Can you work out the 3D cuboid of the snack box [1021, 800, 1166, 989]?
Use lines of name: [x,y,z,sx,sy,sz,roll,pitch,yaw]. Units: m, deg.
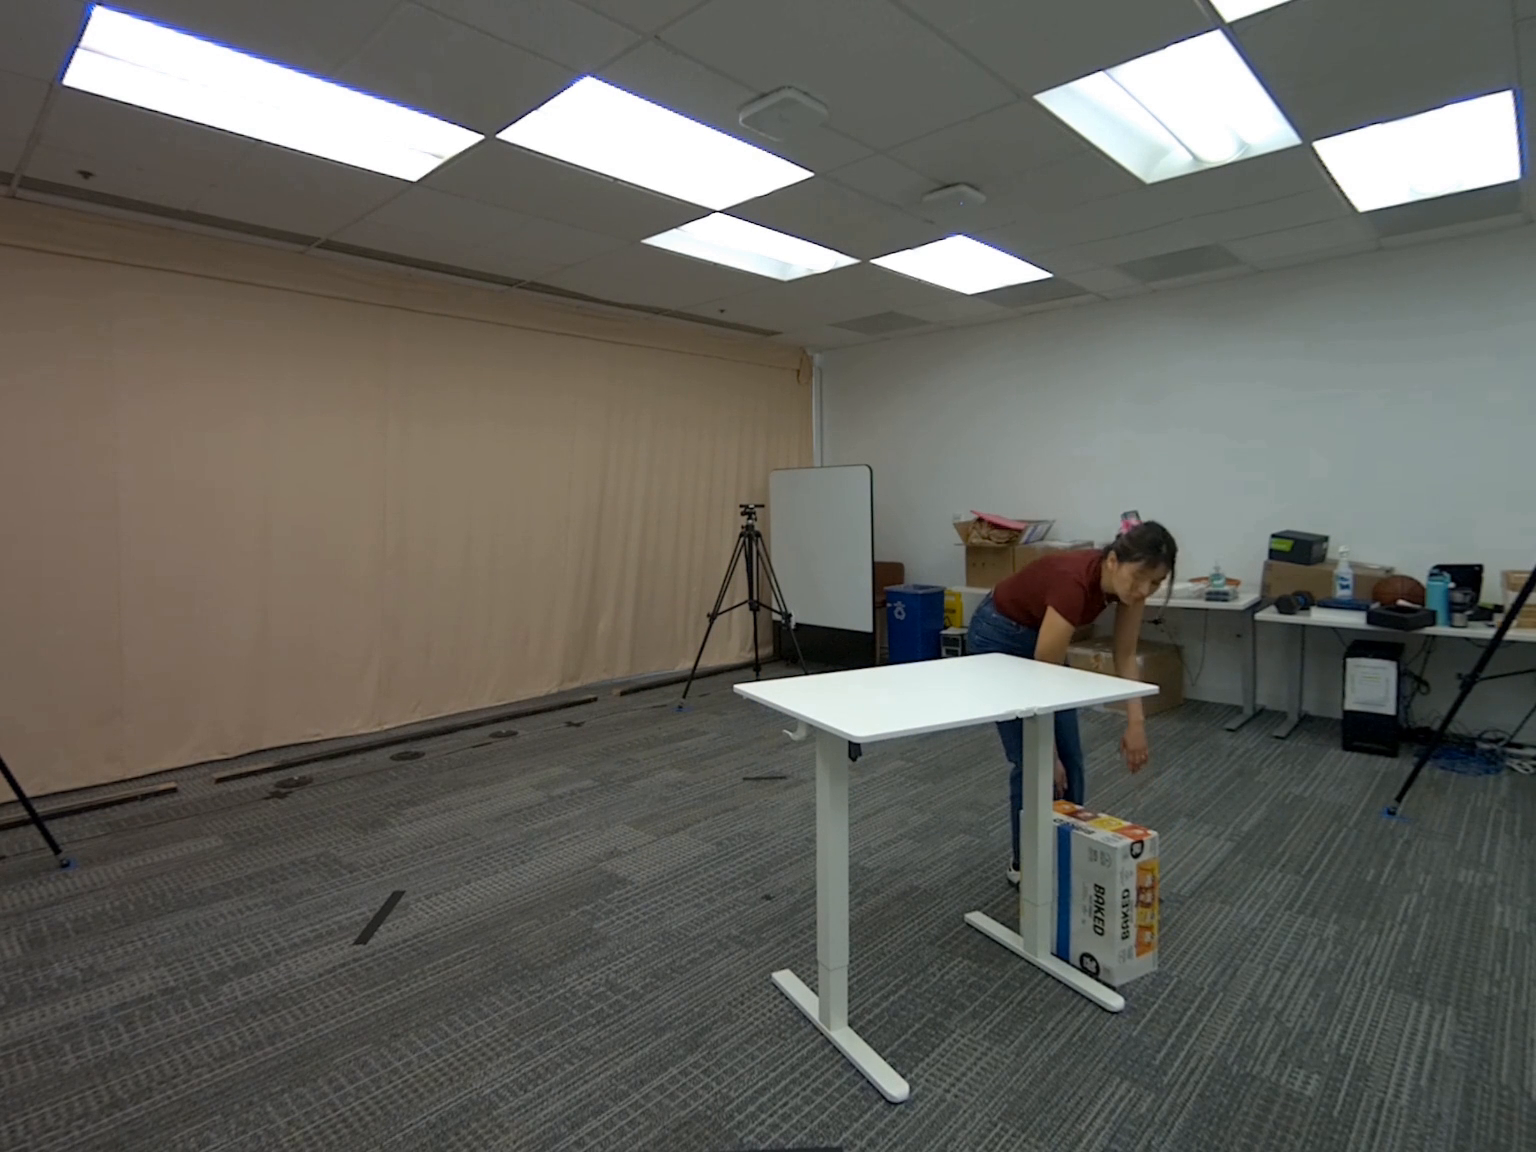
snack box: [0.981,0.945,2.577,0.200,0.404,0.350,-3,3,-31]
